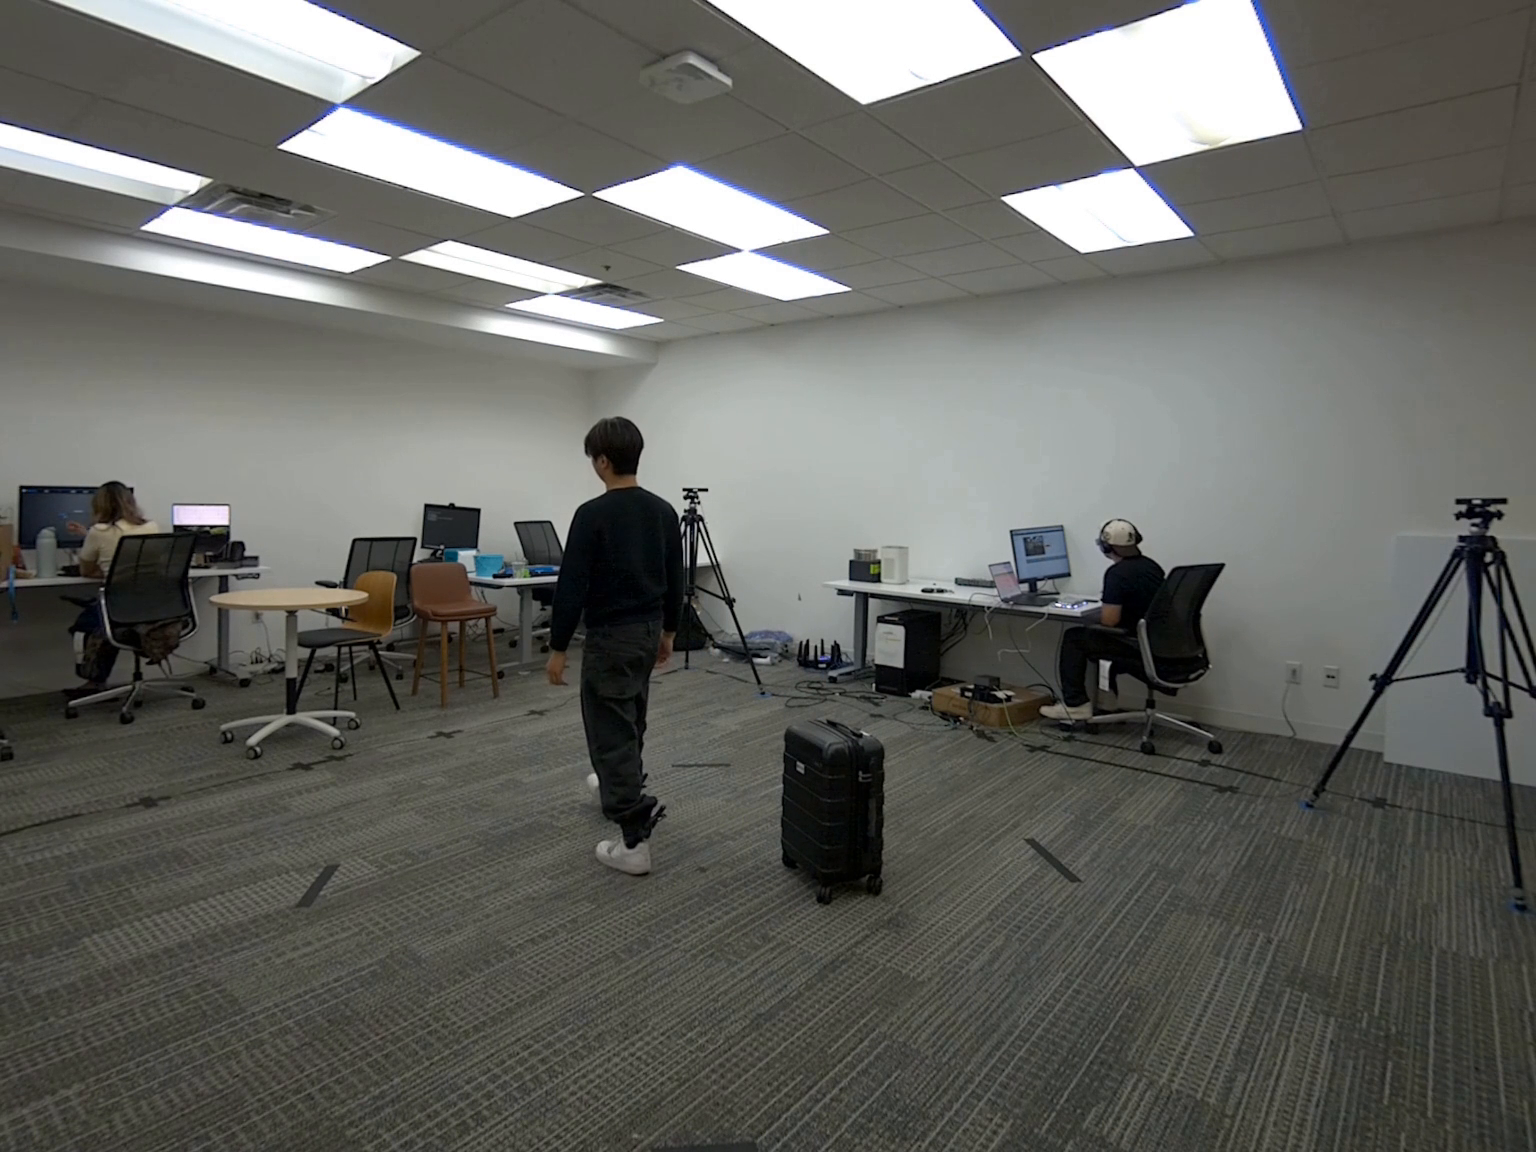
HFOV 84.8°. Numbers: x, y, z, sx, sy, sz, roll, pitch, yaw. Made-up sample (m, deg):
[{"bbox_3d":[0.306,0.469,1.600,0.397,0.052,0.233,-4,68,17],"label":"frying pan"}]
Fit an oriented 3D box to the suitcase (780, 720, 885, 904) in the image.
[{"bbox_3d":[0.222,0.807,3.052,0.242,0.548,0.385,-1,4,-25],"label":"suitcase"}]
